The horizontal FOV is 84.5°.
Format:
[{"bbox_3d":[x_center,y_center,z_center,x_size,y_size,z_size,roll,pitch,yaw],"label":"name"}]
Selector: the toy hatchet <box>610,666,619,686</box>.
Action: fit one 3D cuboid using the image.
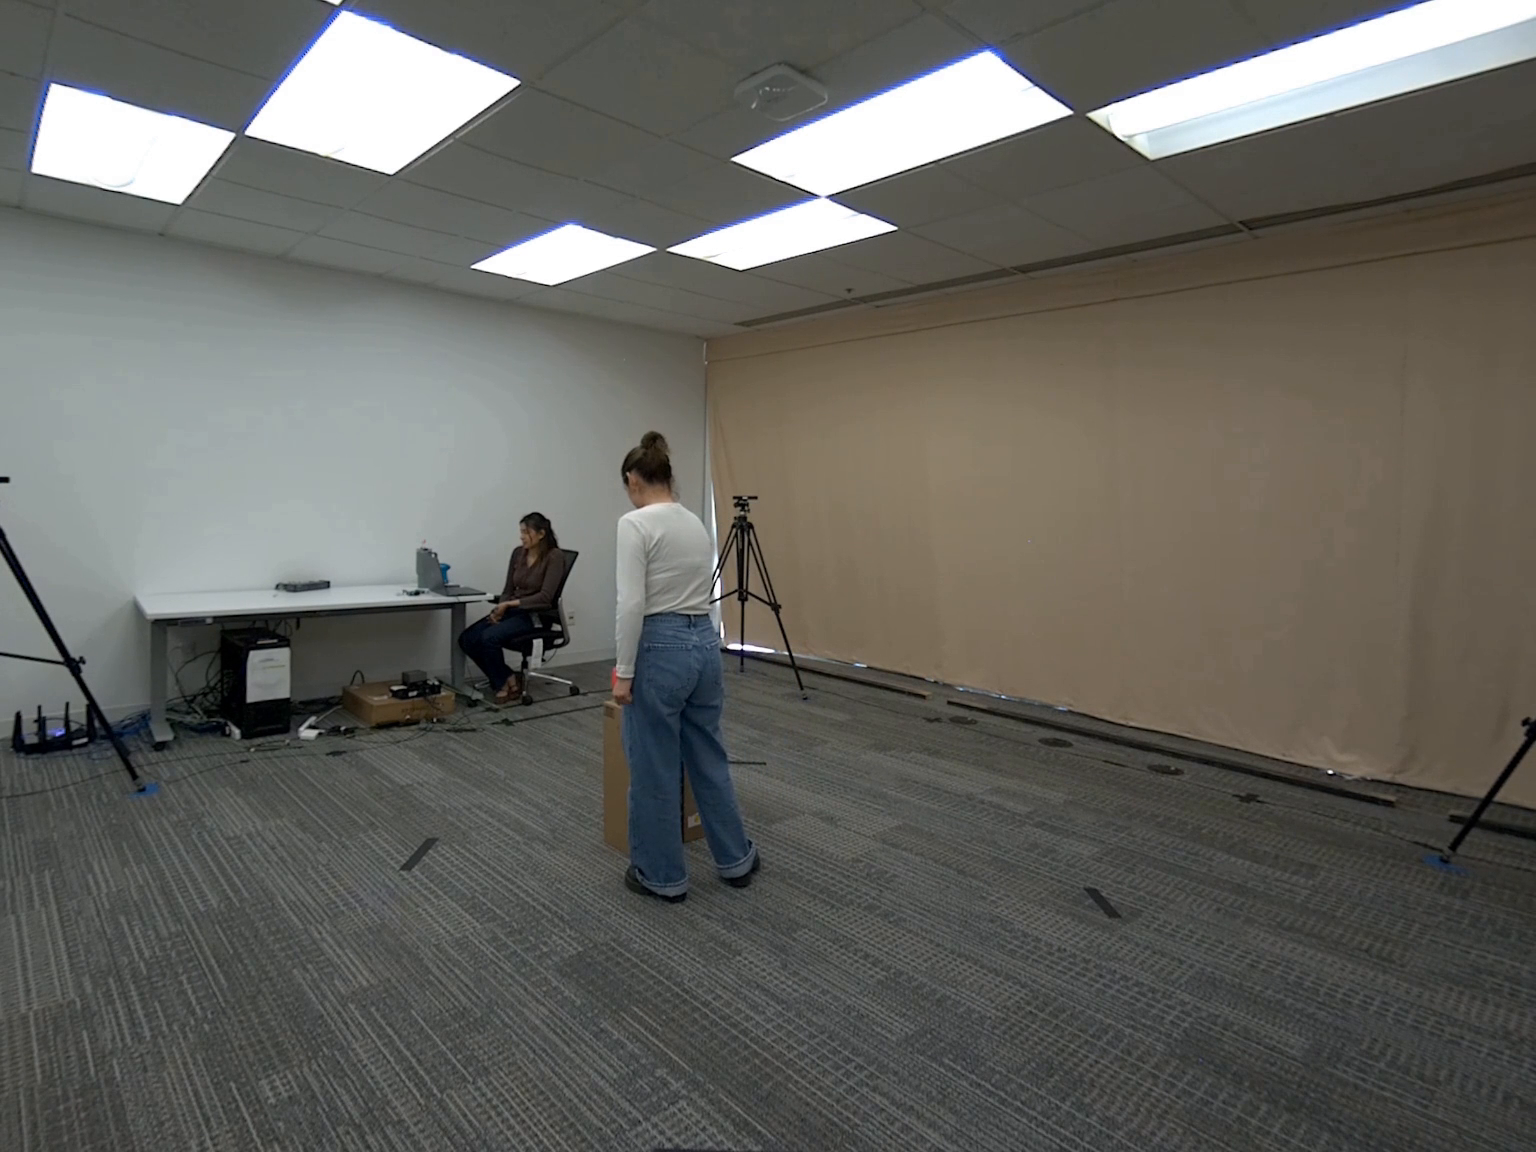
[{"bbox_3d":[-0.557,0.376,3.337,0.029,0.134,0.269,6,-42,-40],"label":"toy hatchet"}]
